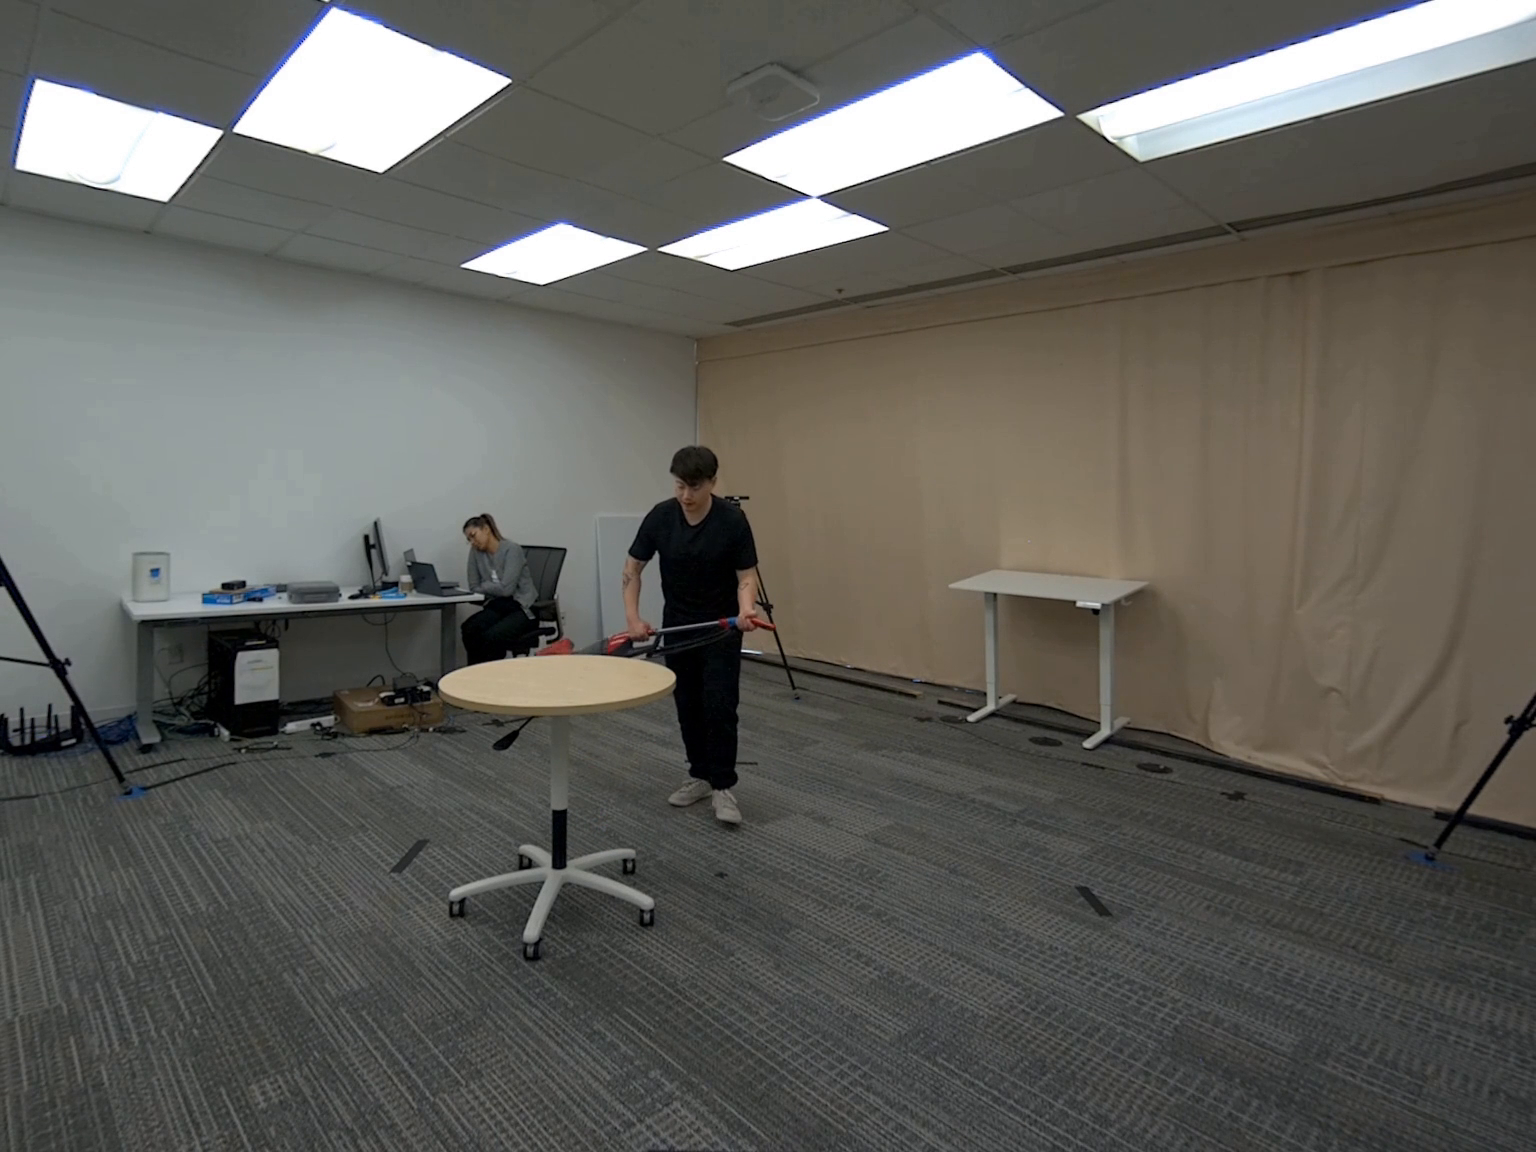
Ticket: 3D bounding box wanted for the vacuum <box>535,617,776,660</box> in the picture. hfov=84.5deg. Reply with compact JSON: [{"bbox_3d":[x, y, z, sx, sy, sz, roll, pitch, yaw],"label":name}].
[{"bbox_3d":[-0.457,0.288,3.581,1.065,0.143,0.250,-9,8,25],"label":"vacuum"}]
